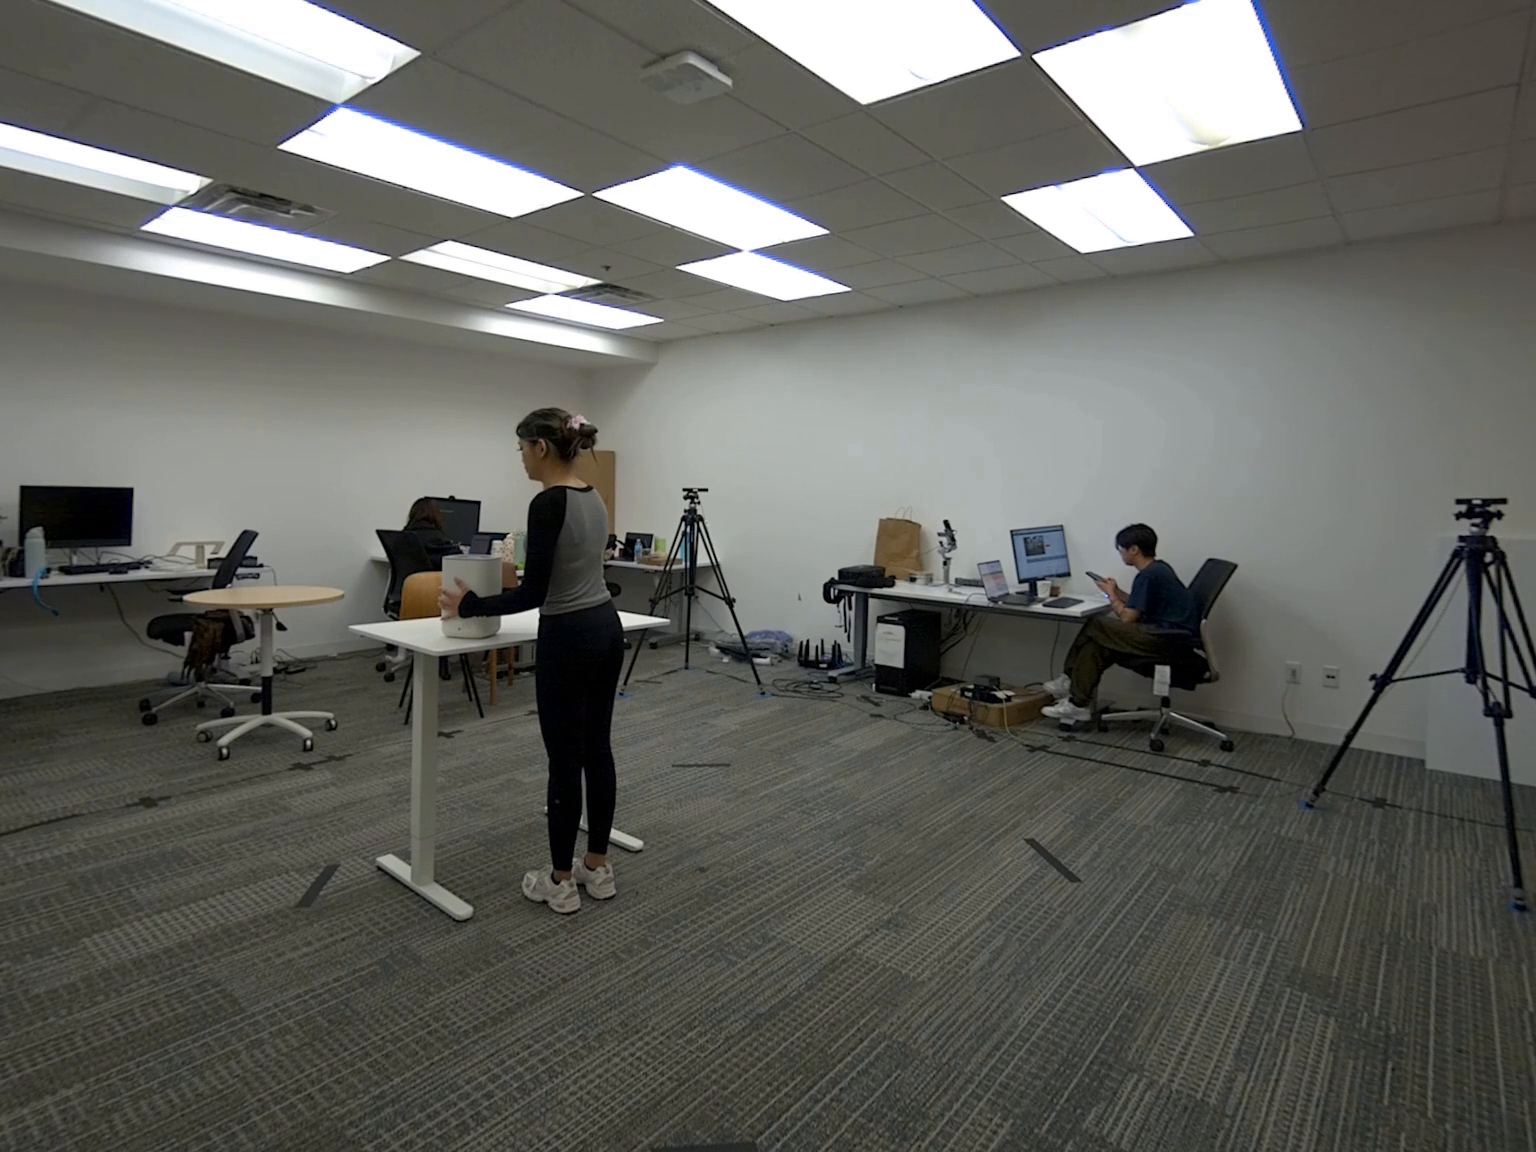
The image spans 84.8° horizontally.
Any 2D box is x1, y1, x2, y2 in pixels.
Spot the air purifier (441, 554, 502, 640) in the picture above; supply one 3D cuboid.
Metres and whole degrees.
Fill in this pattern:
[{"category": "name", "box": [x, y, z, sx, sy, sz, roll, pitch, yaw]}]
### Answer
[{"category": "air purifier", "box": [-1.014, 0.069, 2.868, 0.172, 0.265, 0.170, 3, 3, 7]}]
